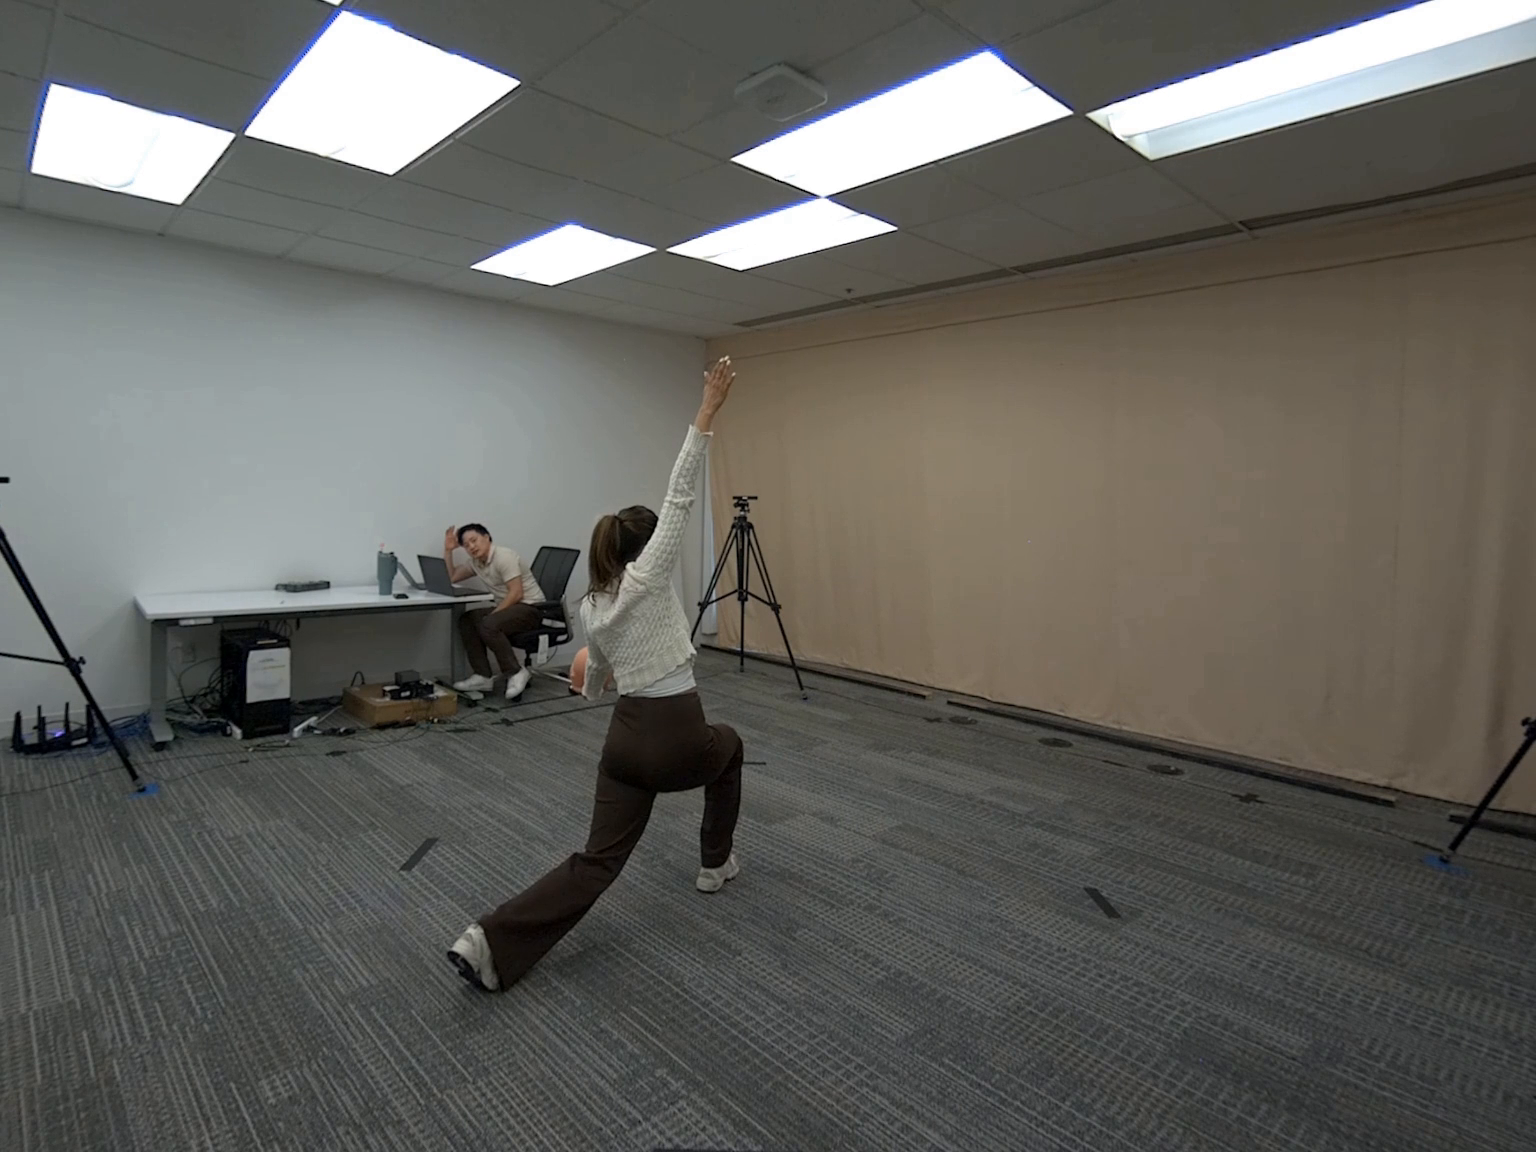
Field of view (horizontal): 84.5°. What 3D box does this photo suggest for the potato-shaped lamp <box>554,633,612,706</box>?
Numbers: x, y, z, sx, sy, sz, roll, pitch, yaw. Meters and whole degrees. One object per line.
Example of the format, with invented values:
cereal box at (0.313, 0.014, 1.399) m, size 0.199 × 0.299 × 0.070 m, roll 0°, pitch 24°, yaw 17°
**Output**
potato-shaped lamp at (-0.709, 0.366, 3.316) m, size 0.173 × 0.166 × 0.194 m, roll 15°, pitch -34°, yaw 9°
